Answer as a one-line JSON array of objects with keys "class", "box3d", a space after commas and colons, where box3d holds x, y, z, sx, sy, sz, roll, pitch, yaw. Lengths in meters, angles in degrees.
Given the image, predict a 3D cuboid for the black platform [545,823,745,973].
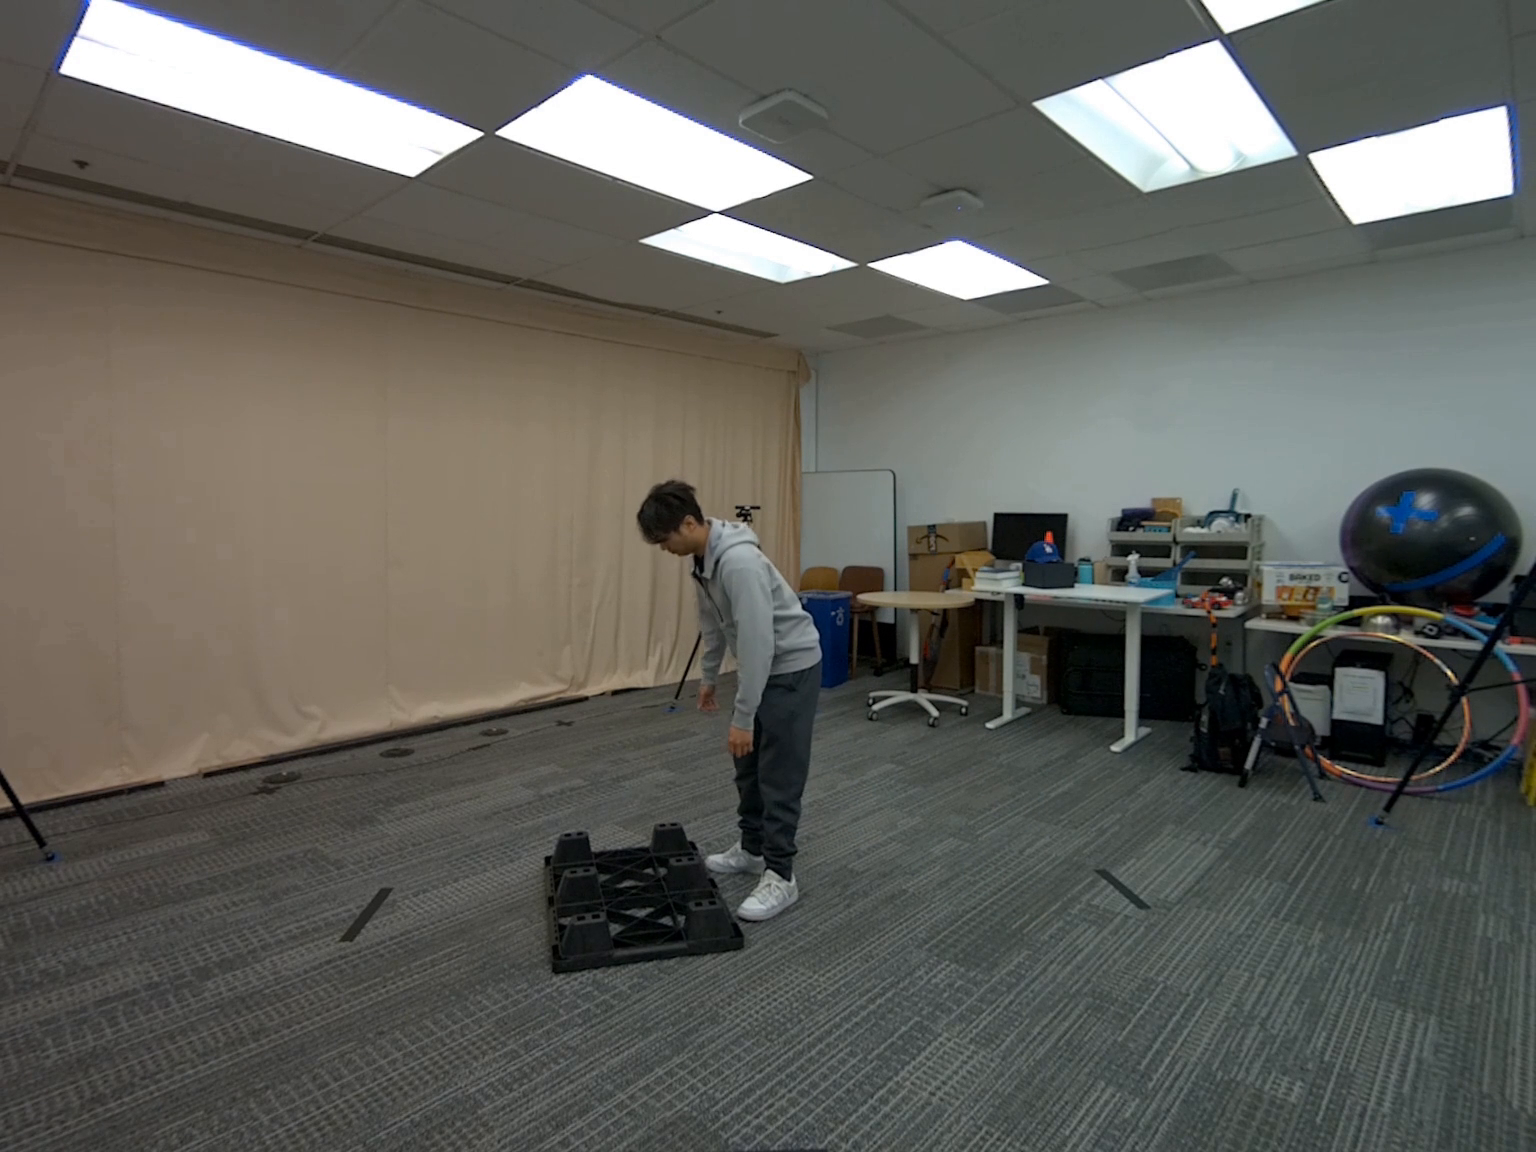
[{"class": "black platform", "box3d": [-0.467, 1.084, 2.953, 0.596, 0.143, 0.820, -2, 5, -16]}]
